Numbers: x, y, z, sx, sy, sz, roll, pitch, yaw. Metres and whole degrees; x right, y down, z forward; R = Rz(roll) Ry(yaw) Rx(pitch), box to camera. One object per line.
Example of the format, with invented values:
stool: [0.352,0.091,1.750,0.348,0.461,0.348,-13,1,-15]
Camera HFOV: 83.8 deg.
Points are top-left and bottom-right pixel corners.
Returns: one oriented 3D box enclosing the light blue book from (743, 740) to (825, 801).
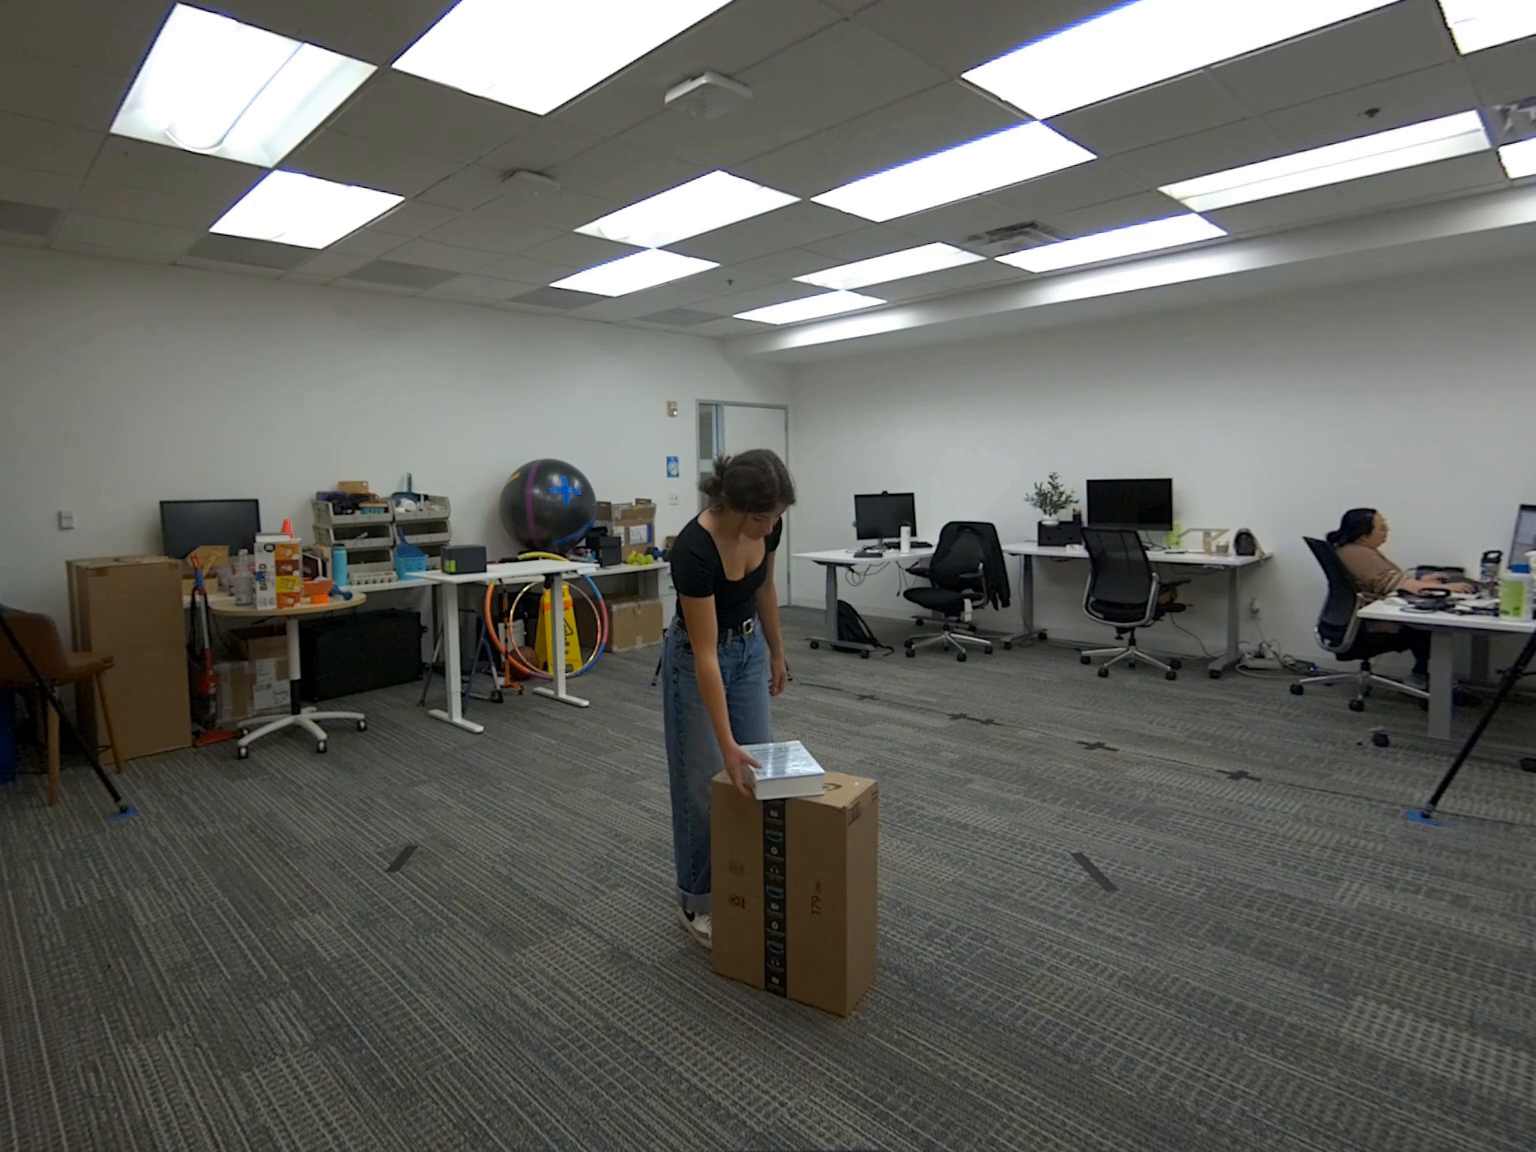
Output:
light blue book: [0.034,0.544,2.368,0.189,0.058,0.265,-2,8,-11]
